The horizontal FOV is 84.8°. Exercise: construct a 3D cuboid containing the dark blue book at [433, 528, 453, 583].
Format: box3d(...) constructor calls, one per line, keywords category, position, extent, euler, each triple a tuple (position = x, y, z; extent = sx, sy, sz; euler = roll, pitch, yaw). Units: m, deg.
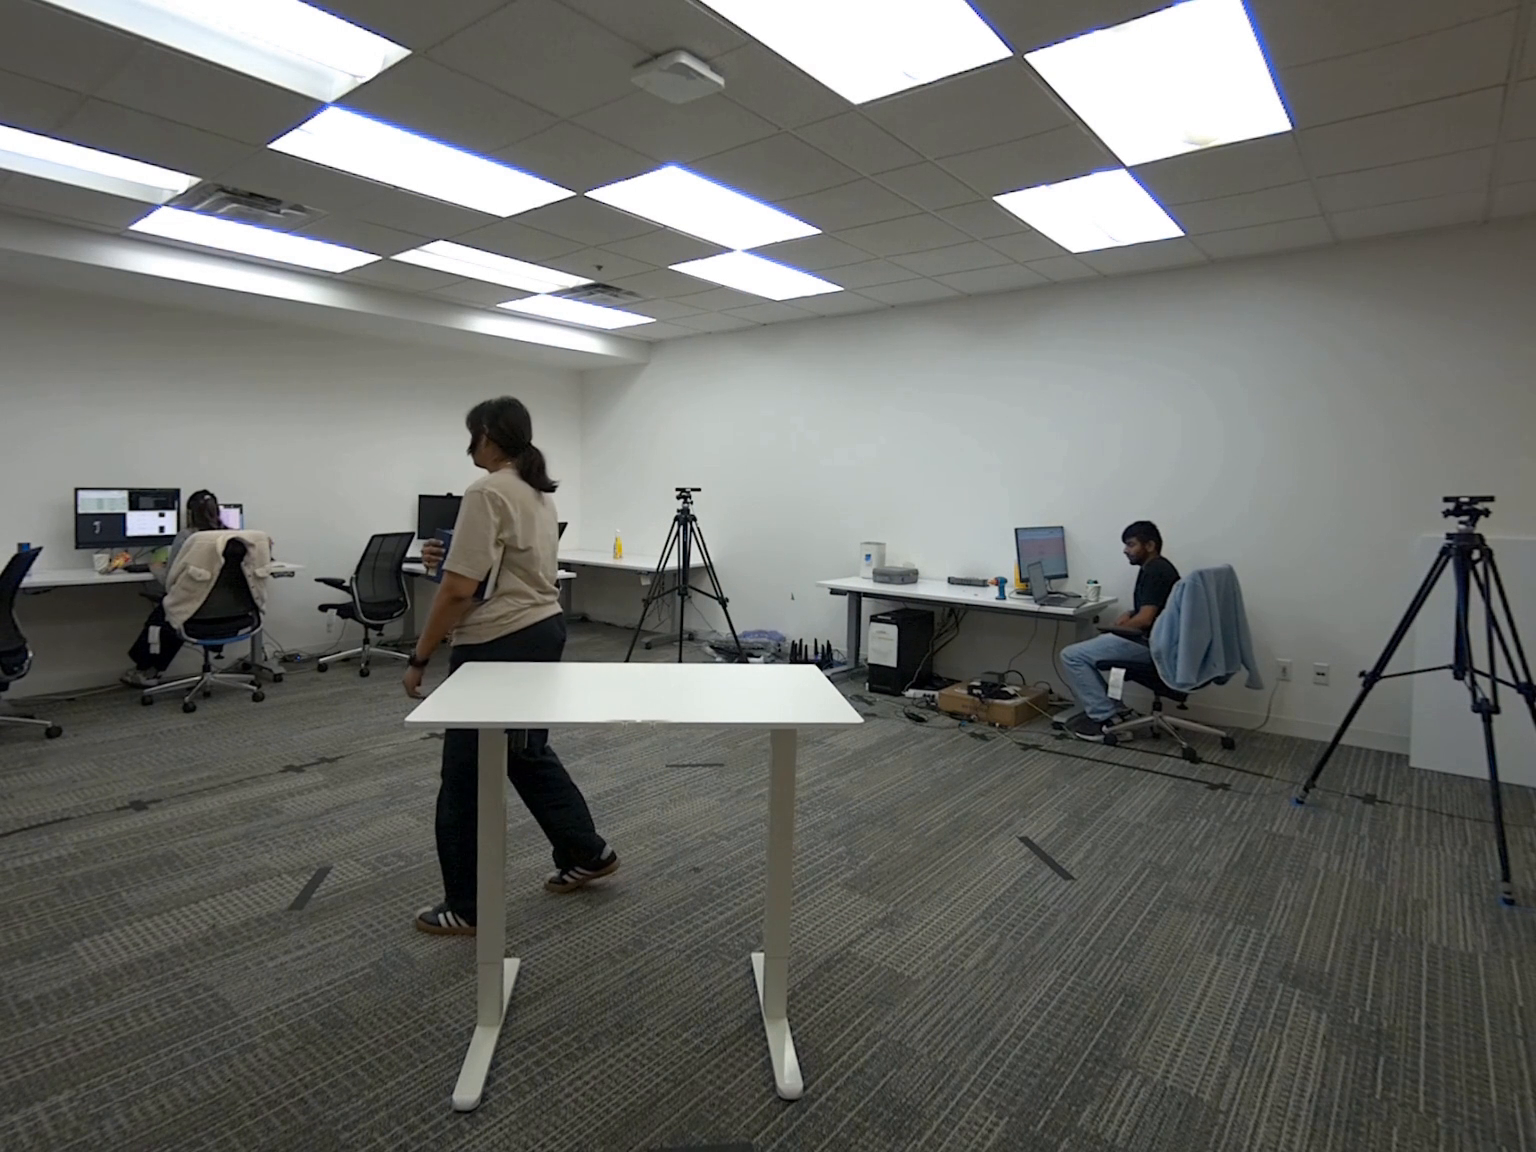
box3d(category="dark blue book", position=(-0.937, -0.039, 2.612), extent=(0.252, 0.163, 0.044), euler=(18, 2, 25))
